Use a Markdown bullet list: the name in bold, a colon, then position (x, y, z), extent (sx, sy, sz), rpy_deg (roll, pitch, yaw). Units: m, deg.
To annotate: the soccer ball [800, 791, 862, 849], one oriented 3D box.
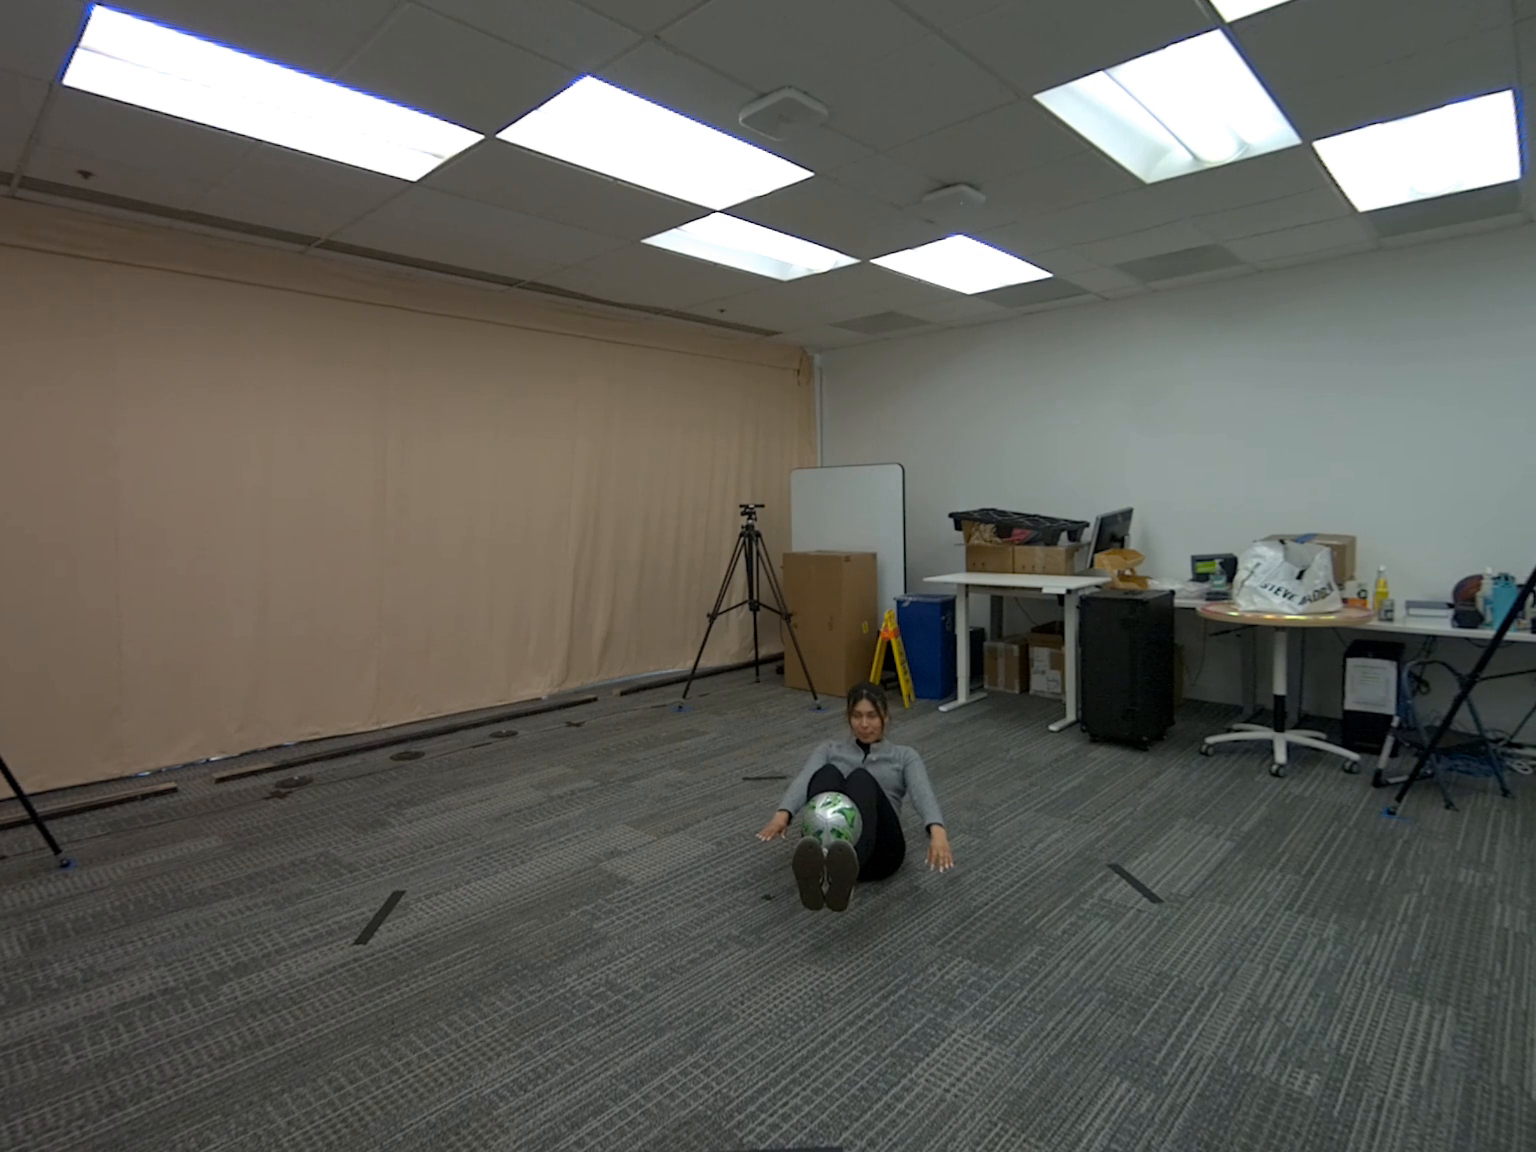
- **soccer ball**: position (0.199, 0.765, 2.593), extent (0.187, 0.187, 0.188), rpy_deg (-1, 4, -2)
